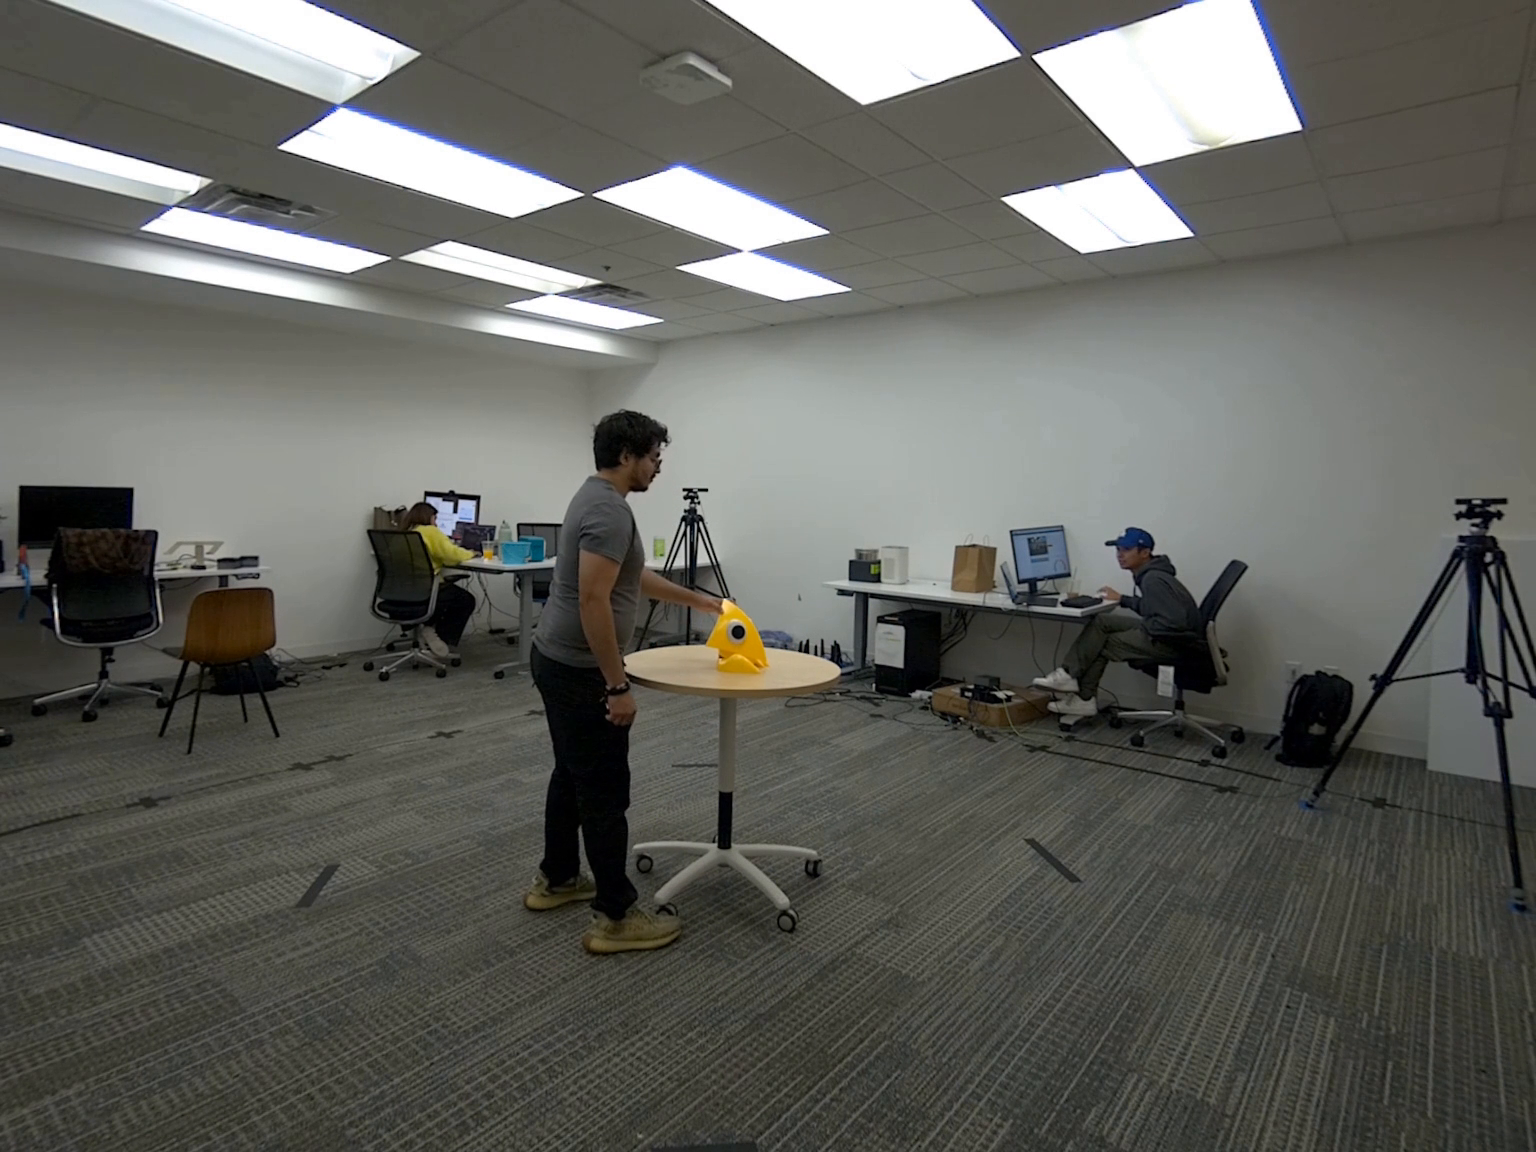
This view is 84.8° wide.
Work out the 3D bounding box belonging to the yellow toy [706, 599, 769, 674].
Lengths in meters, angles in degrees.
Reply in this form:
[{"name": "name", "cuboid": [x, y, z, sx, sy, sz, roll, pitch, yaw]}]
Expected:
[{"name": "yellow toy", "cuboid": [-0.101, 0.195, 2.908, 0.196, 0.230, 0.202, 2, 4, 15]}]
